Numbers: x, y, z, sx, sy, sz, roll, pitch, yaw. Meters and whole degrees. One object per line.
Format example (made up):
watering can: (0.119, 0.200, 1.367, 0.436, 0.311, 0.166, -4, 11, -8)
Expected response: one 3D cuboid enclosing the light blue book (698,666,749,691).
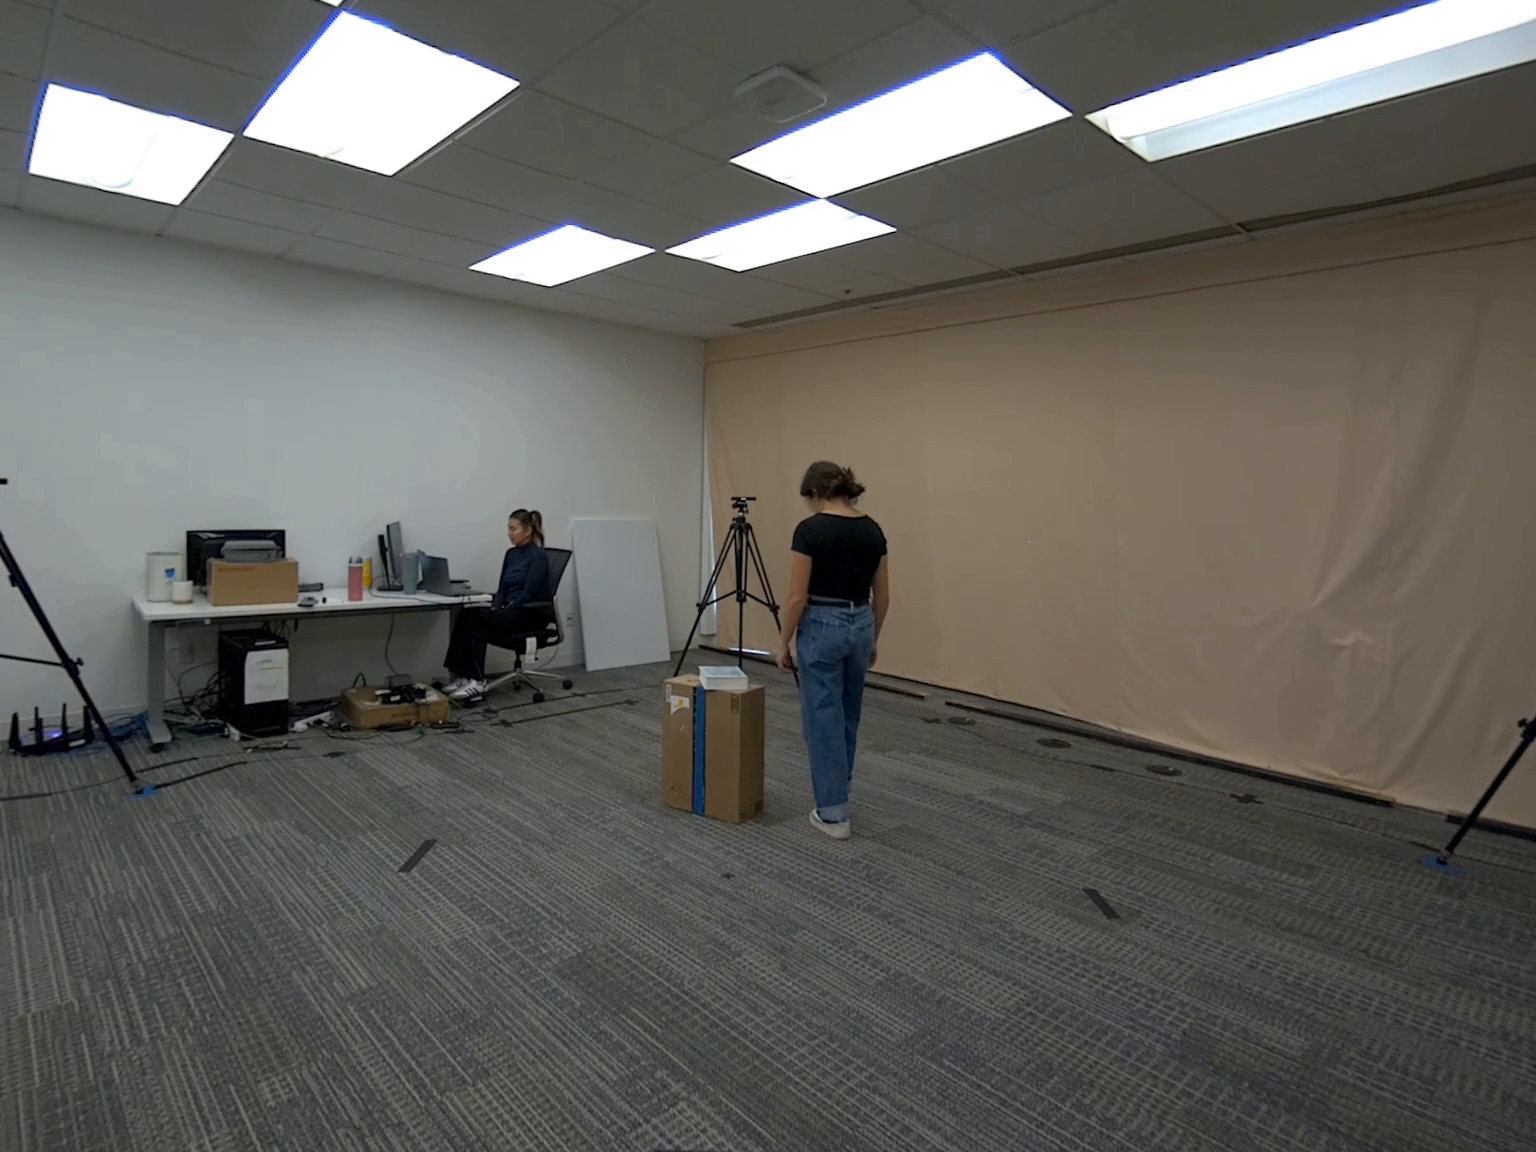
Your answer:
light blue book: (-0.205, 0.451, 3.781, 0.190, 0.059, 0.264, 0, 5, -11)
